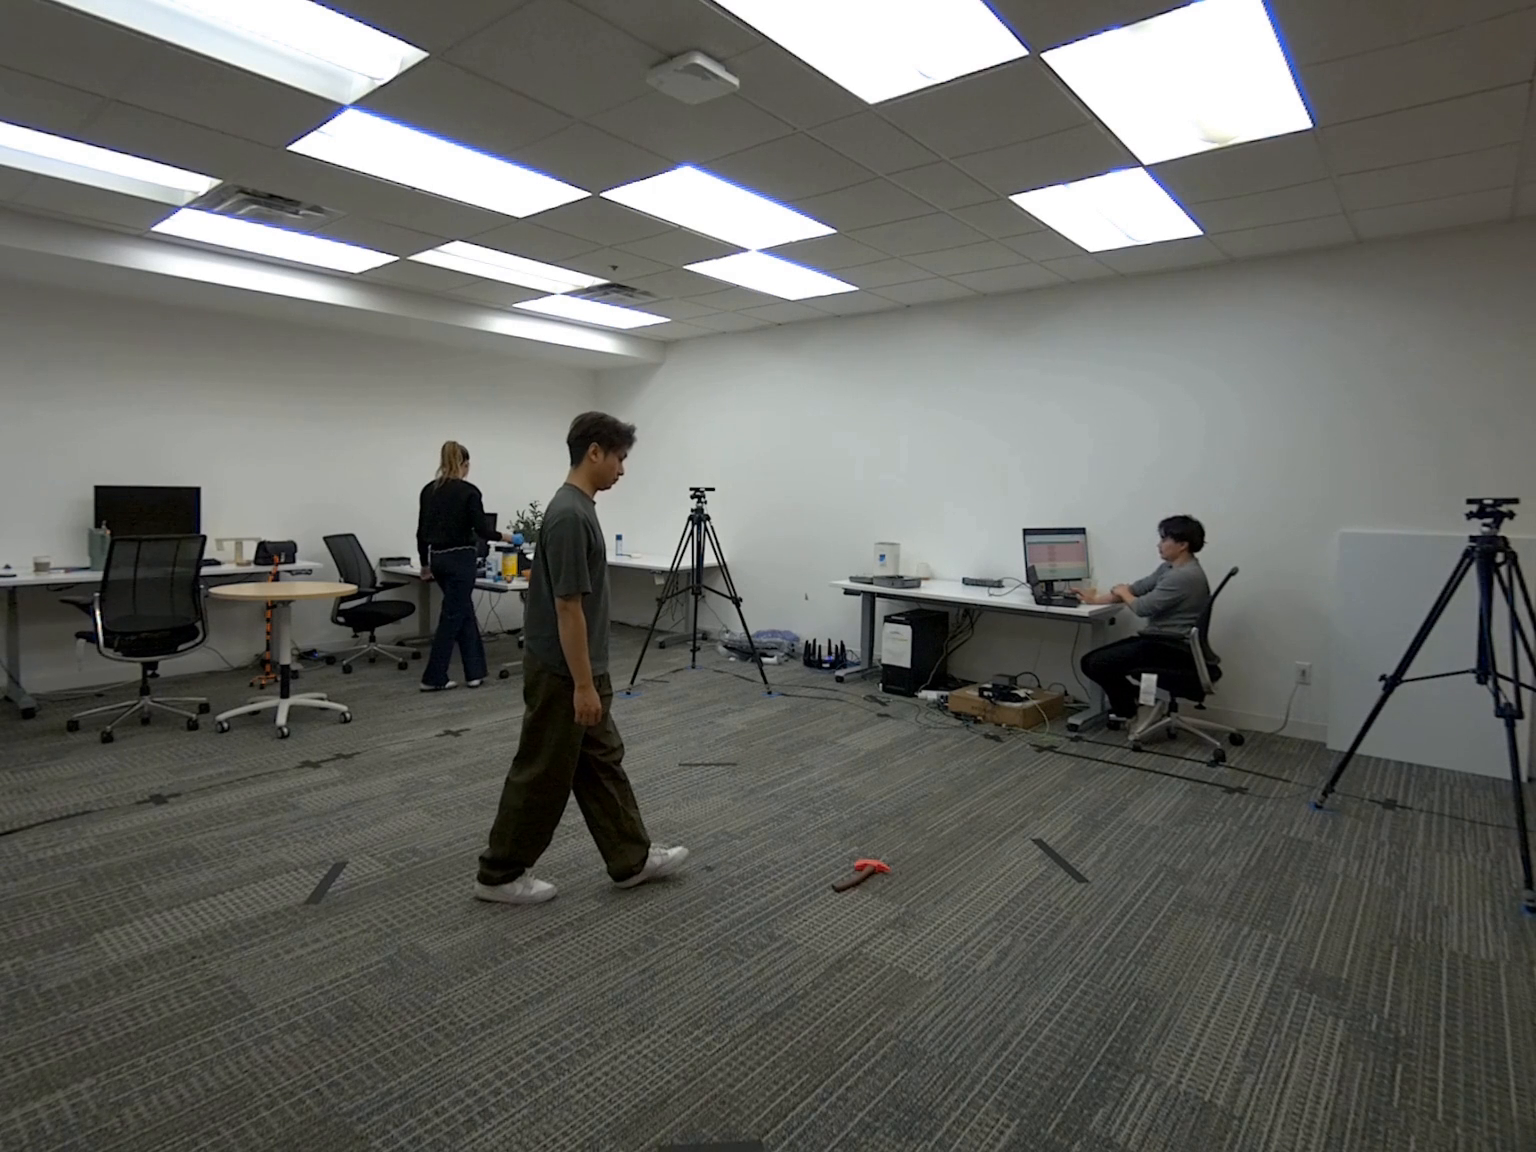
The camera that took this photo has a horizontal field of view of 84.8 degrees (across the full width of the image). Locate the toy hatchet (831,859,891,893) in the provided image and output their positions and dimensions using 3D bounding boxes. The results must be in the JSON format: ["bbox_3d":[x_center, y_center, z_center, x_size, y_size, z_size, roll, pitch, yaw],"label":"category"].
[{"bbox_3d":[0.303,1.071,3.068,0.262,0.029,0.135,-4,9,-36],"label":"toy hatchet"}]
